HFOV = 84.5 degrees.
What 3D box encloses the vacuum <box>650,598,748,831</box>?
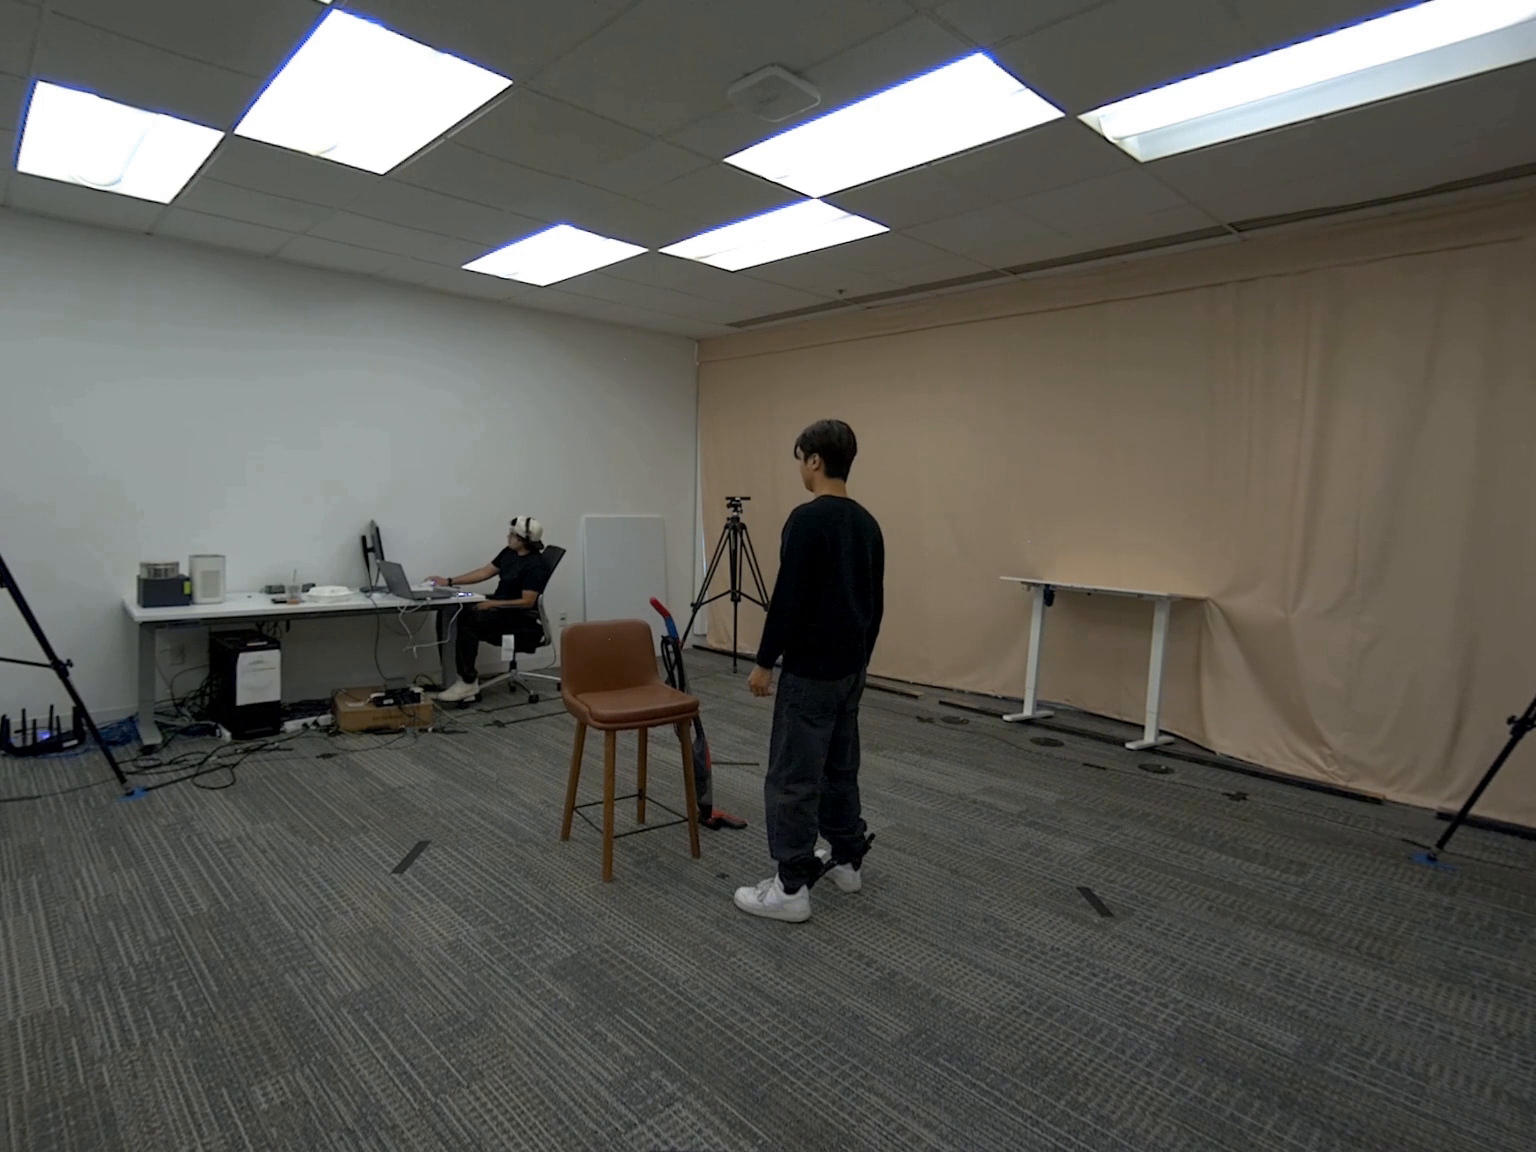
[{"bbox_3d":[-0.345,0.576,3.482,0.259,1.035,0.142,4,23,45],"label":"vacuum"}]
